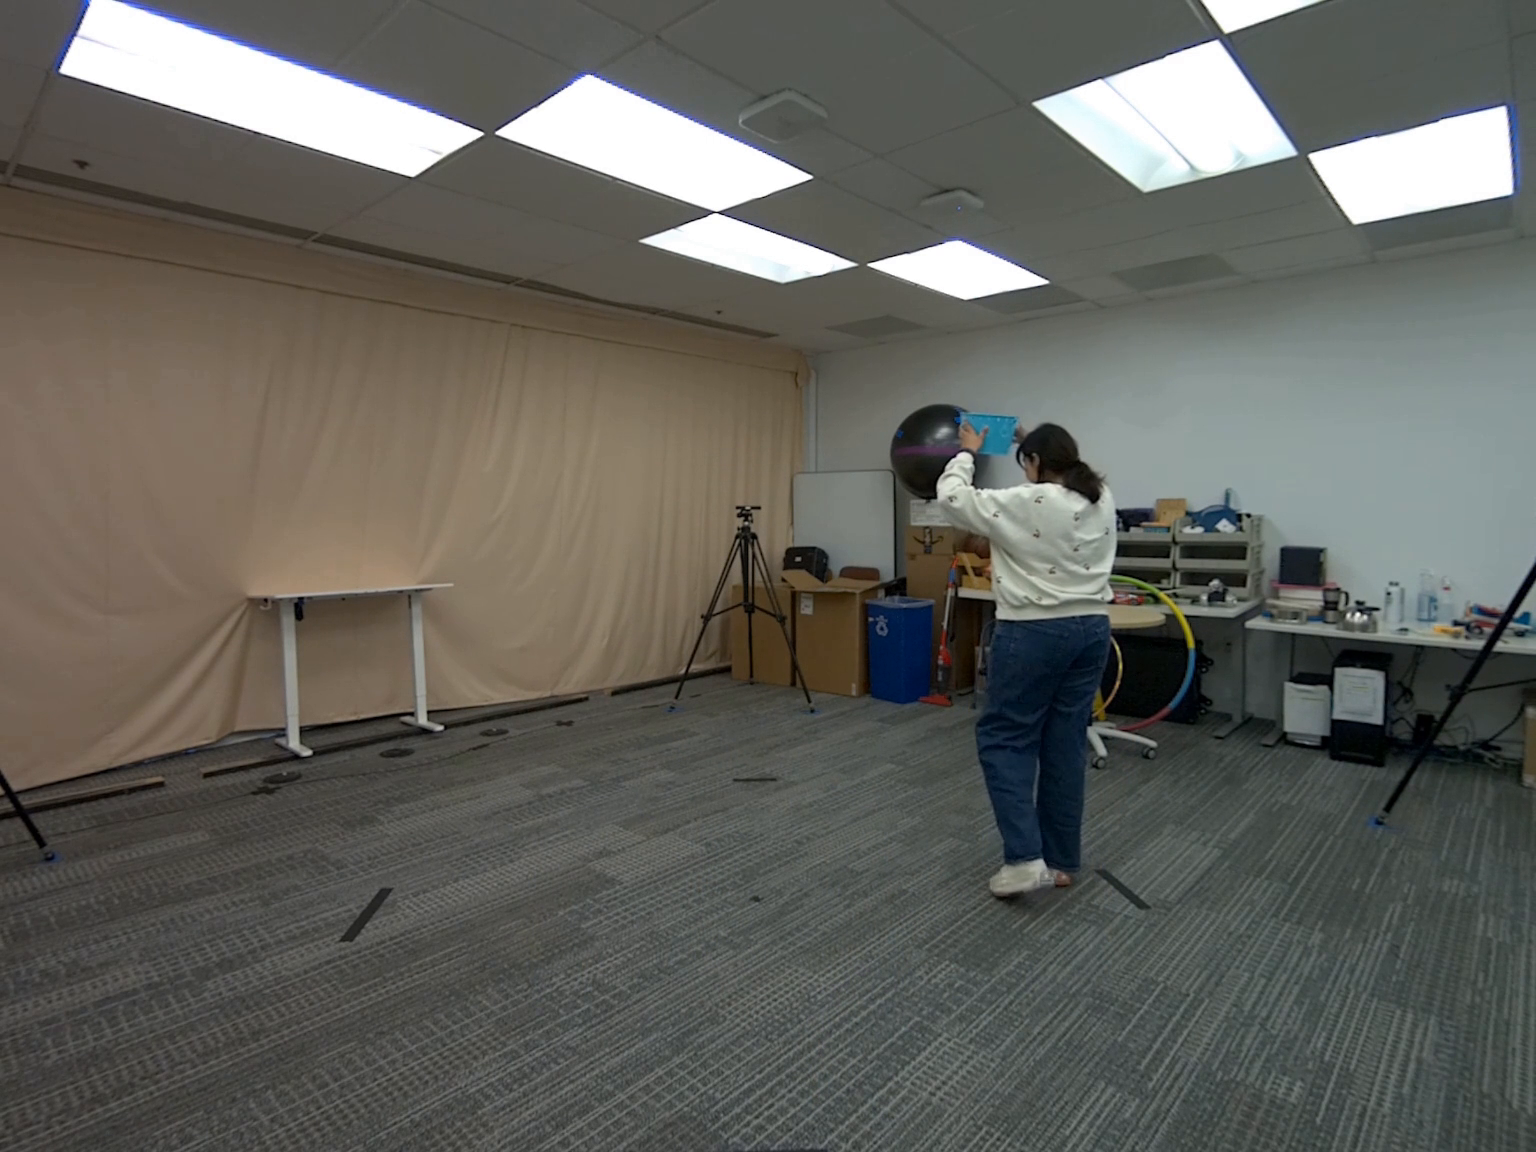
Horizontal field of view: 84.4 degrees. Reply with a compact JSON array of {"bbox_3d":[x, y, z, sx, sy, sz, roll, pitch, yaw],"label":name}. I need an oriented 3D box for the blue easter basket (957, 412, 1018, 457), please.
[{"bbox_3d":[0.892,-0.568,3.358,0.243,0.155,0.245,3,10,-2],"label":"blue easter basket"}]
